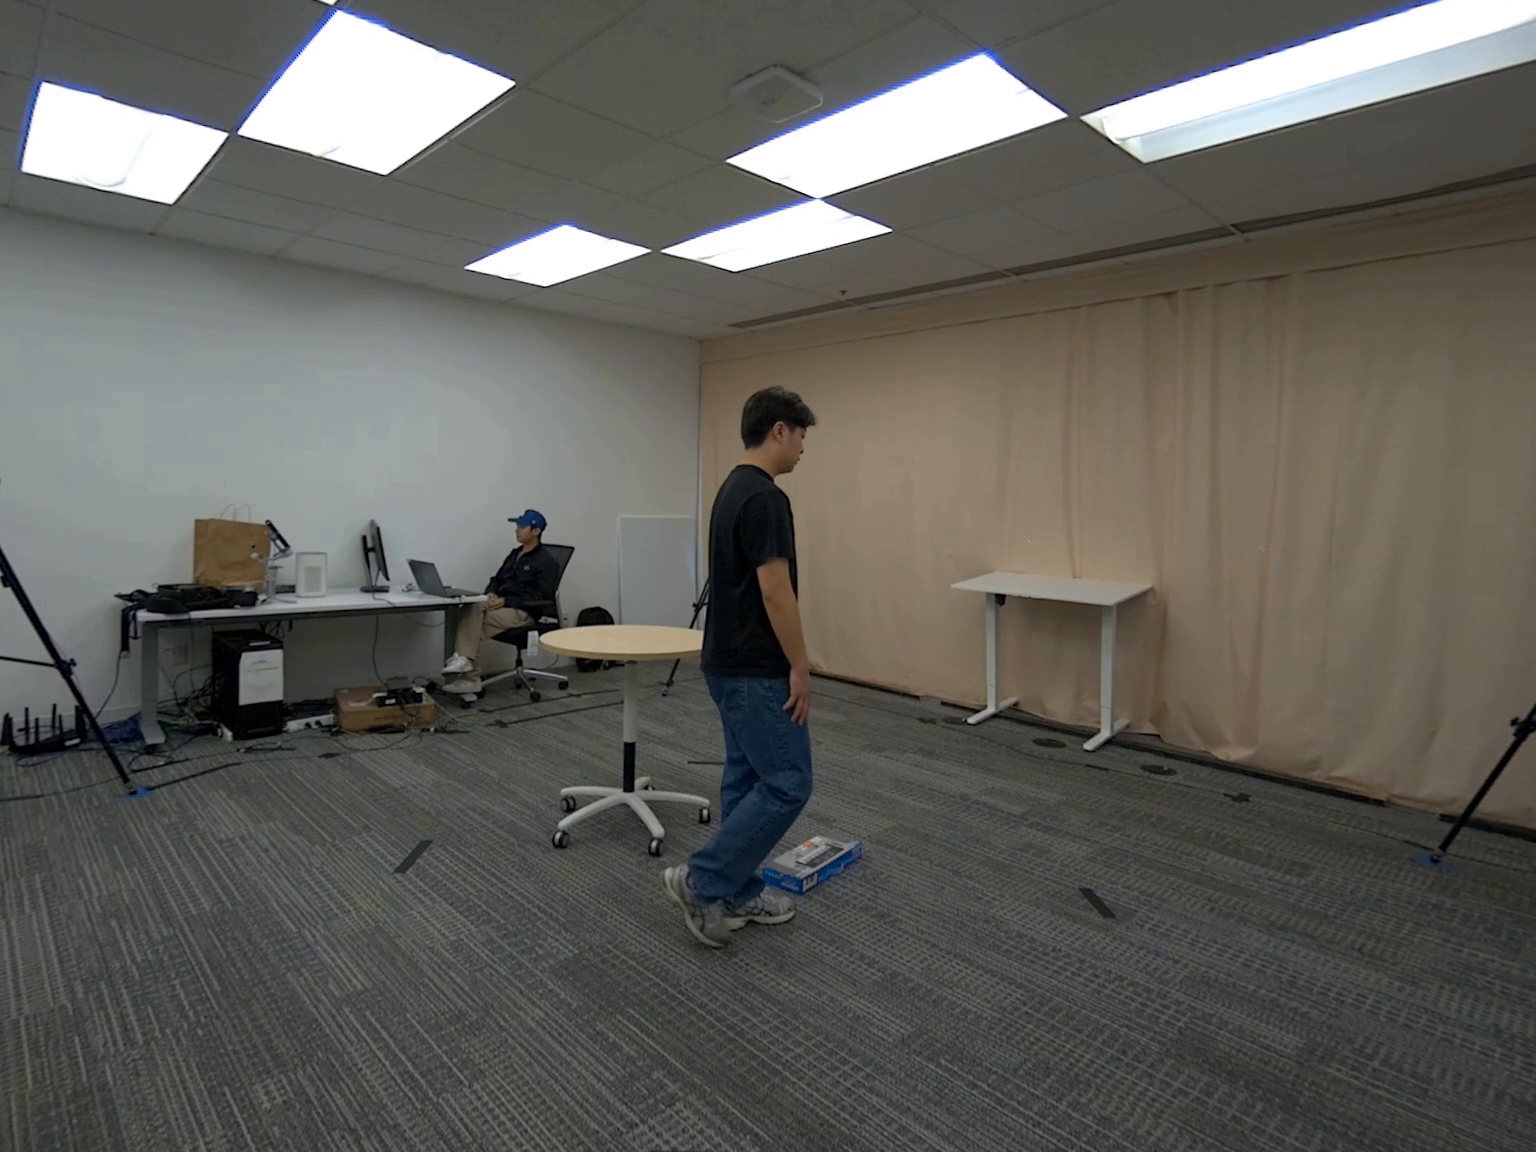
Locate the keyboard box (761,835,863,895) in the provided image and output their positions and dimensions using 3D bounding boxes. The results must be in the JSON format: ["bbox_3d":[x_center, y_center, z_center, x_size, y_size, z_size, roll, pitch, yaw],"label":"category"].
[{"bbox_3d":[0.166,1.078,3.183,0.180,0.059,0.427,4,6,36],"label":"keyboard box"}]
